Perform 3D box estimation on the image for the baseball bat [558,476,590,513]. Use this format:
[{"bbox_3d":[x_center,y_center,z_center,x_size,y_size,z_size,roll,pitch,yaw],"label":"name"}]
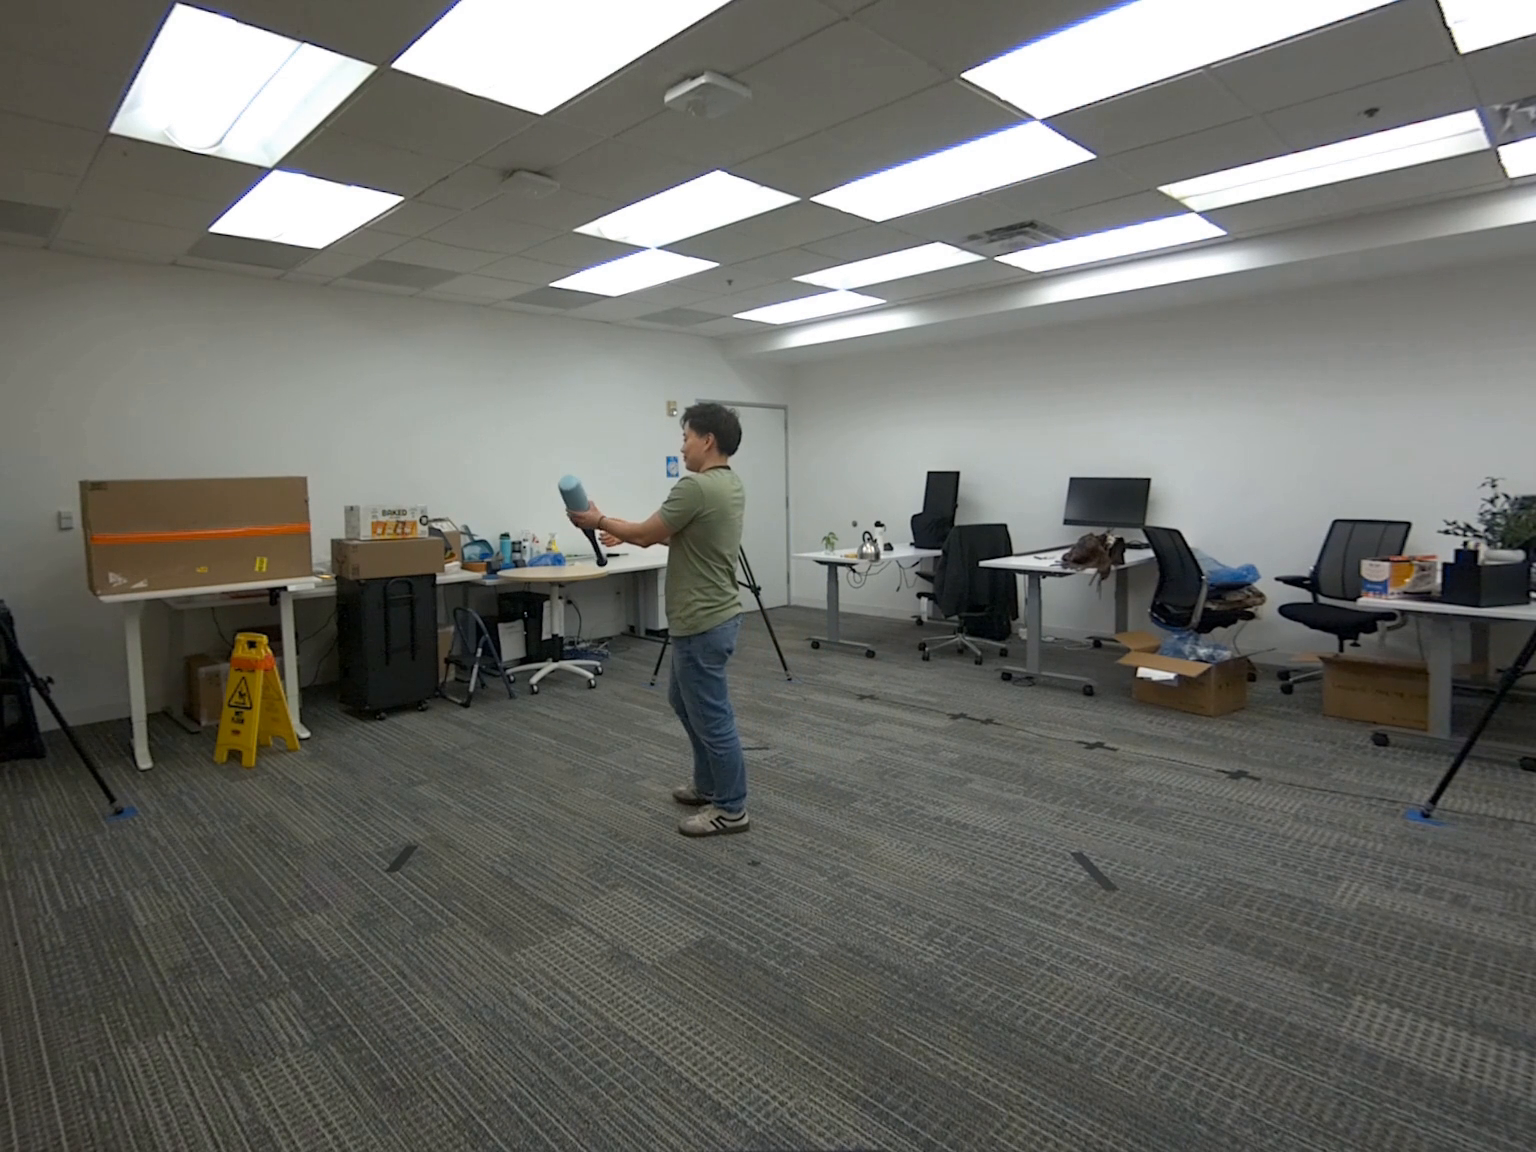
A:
[{"bbox_3d":[-0.732,-0.208,3.458,0.090,0.091,0.526,0,-35,8],"label":"baseball bat"}]
